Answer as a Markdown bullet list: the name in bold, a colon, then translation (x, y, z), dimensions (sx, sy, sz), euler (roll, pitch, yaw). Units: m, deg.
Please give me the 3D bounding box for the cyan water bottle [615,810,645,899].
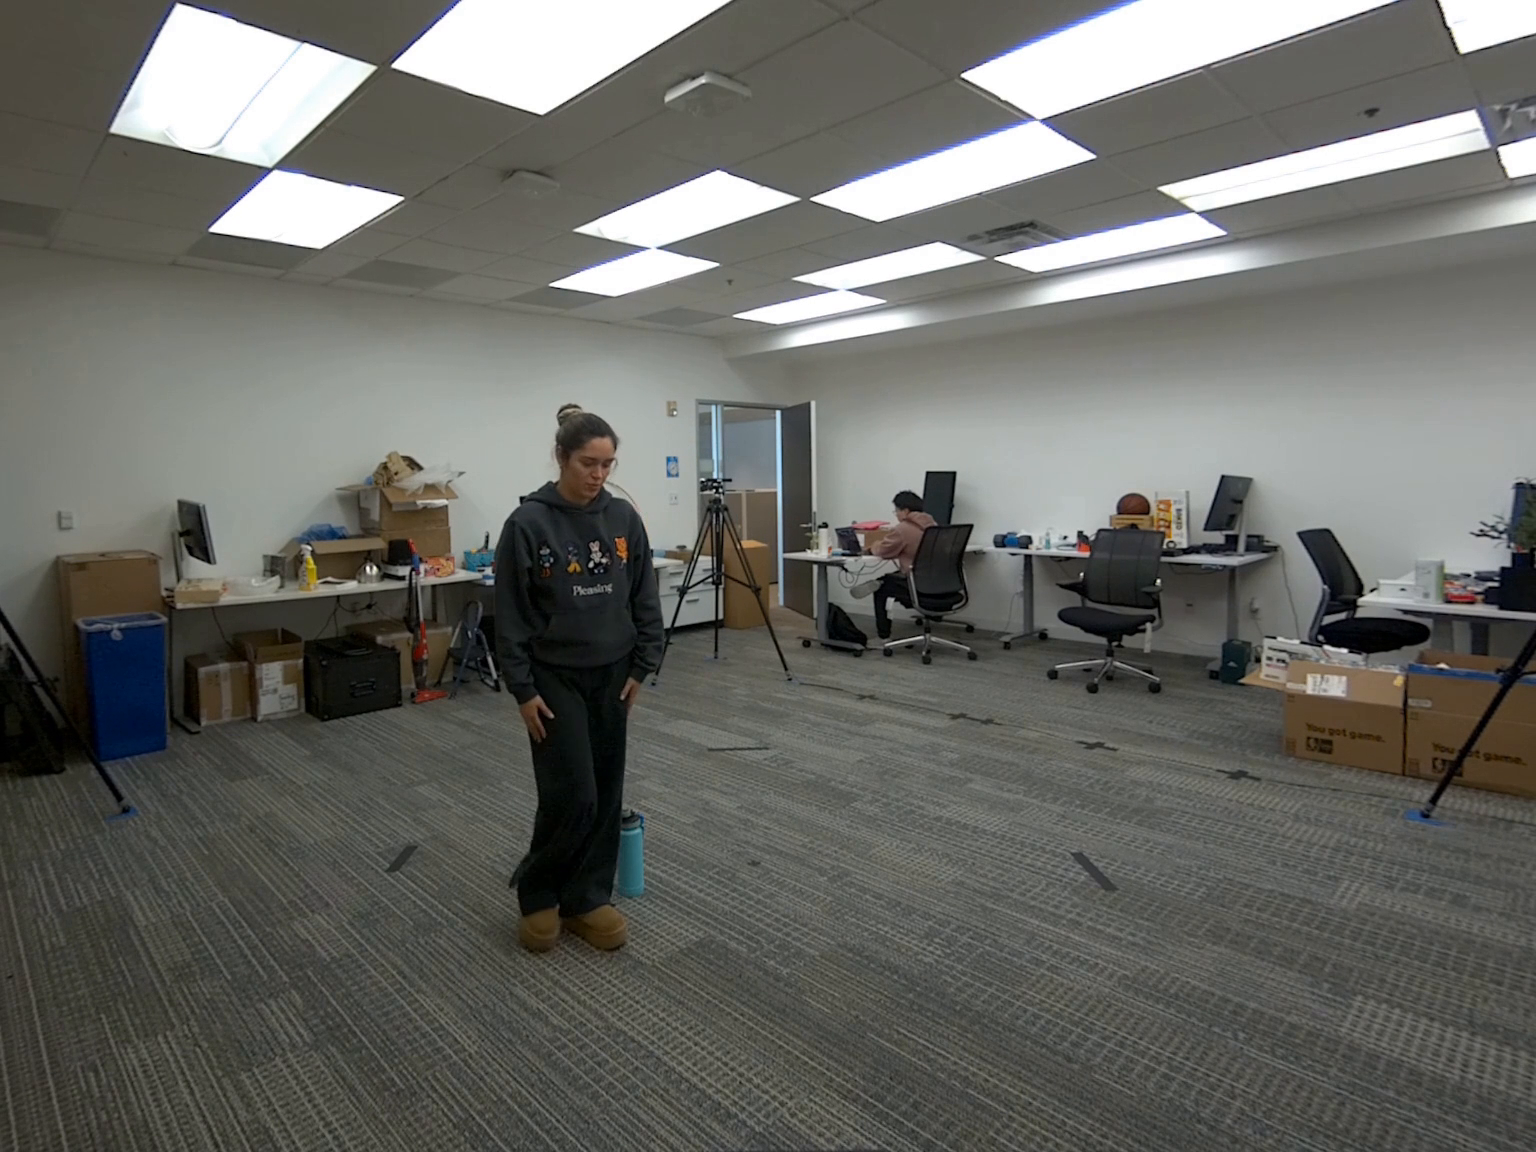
- **cyan water bottle**: translation (-0.466, 0.935, 2.890), dimensions (0.092, 0.283, 0.092), euler (0, 3, -2)
